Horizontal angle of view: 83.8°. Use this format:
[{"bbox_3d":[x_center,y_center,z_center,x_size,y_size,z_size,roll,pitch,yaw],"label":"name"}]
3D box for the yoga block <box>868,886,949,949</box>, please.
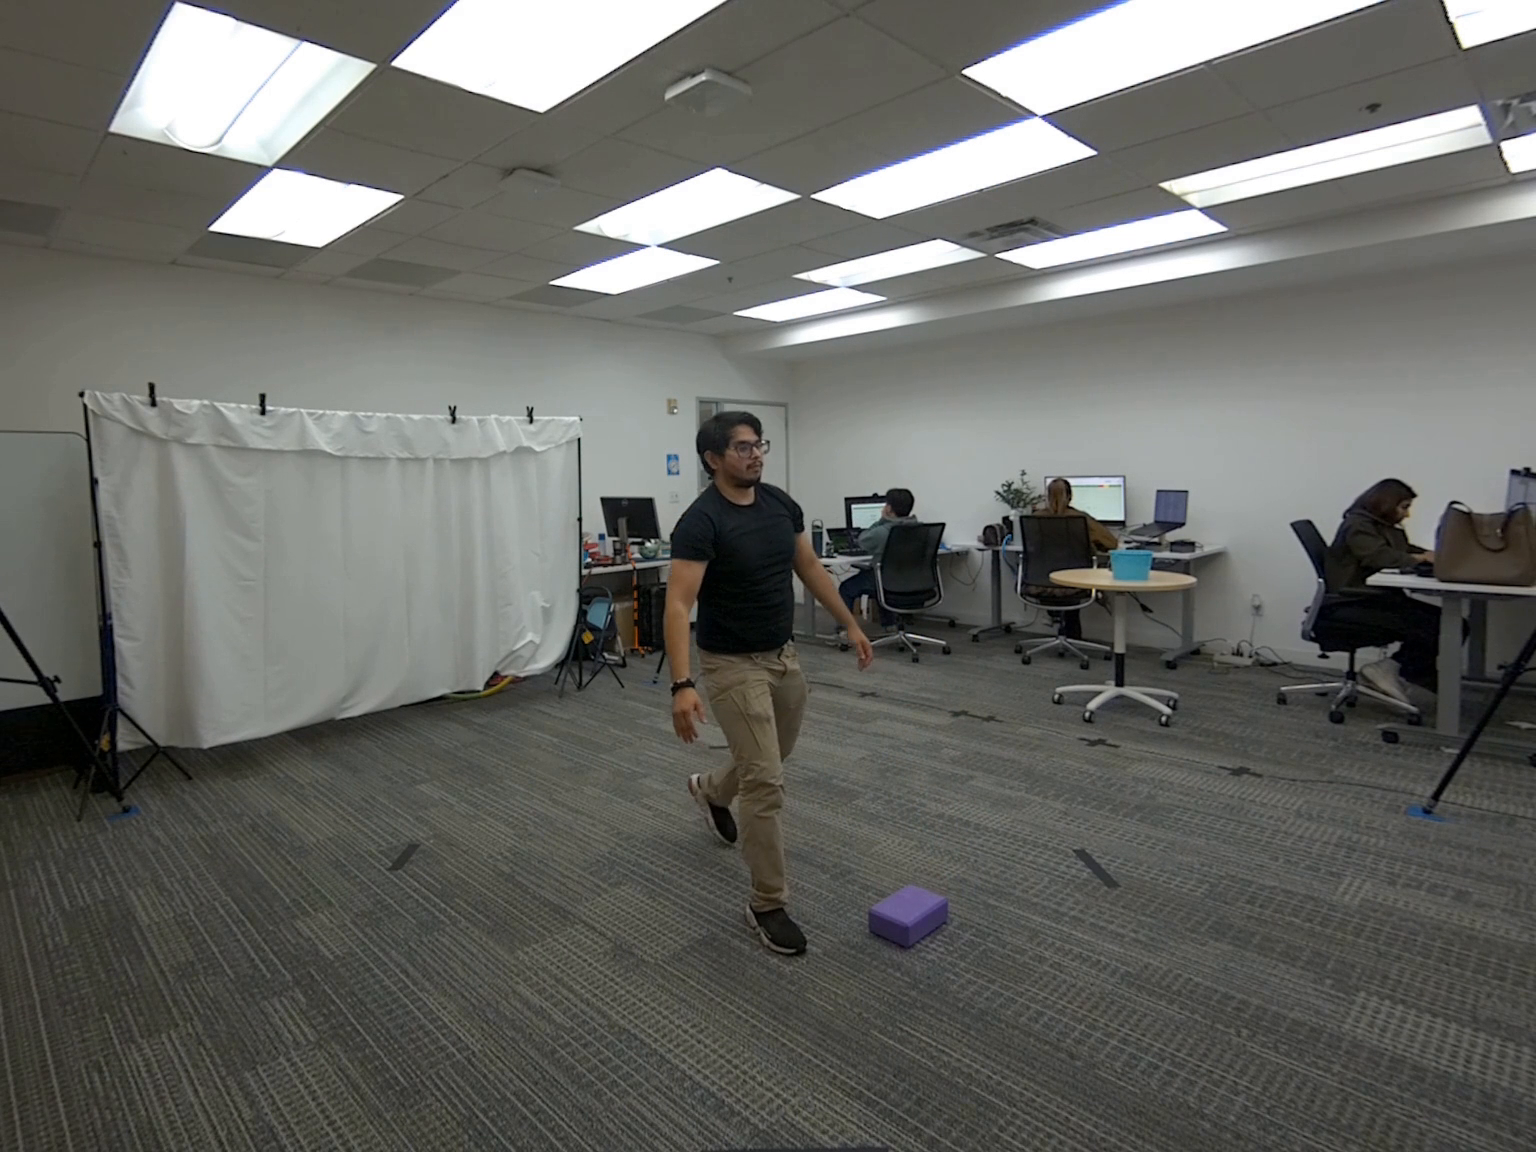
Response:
[{"bbox_3d":[0.440,1.043,2.633,0.153,0.076,0.223,3,7,44],"label":"yoga block"}]
